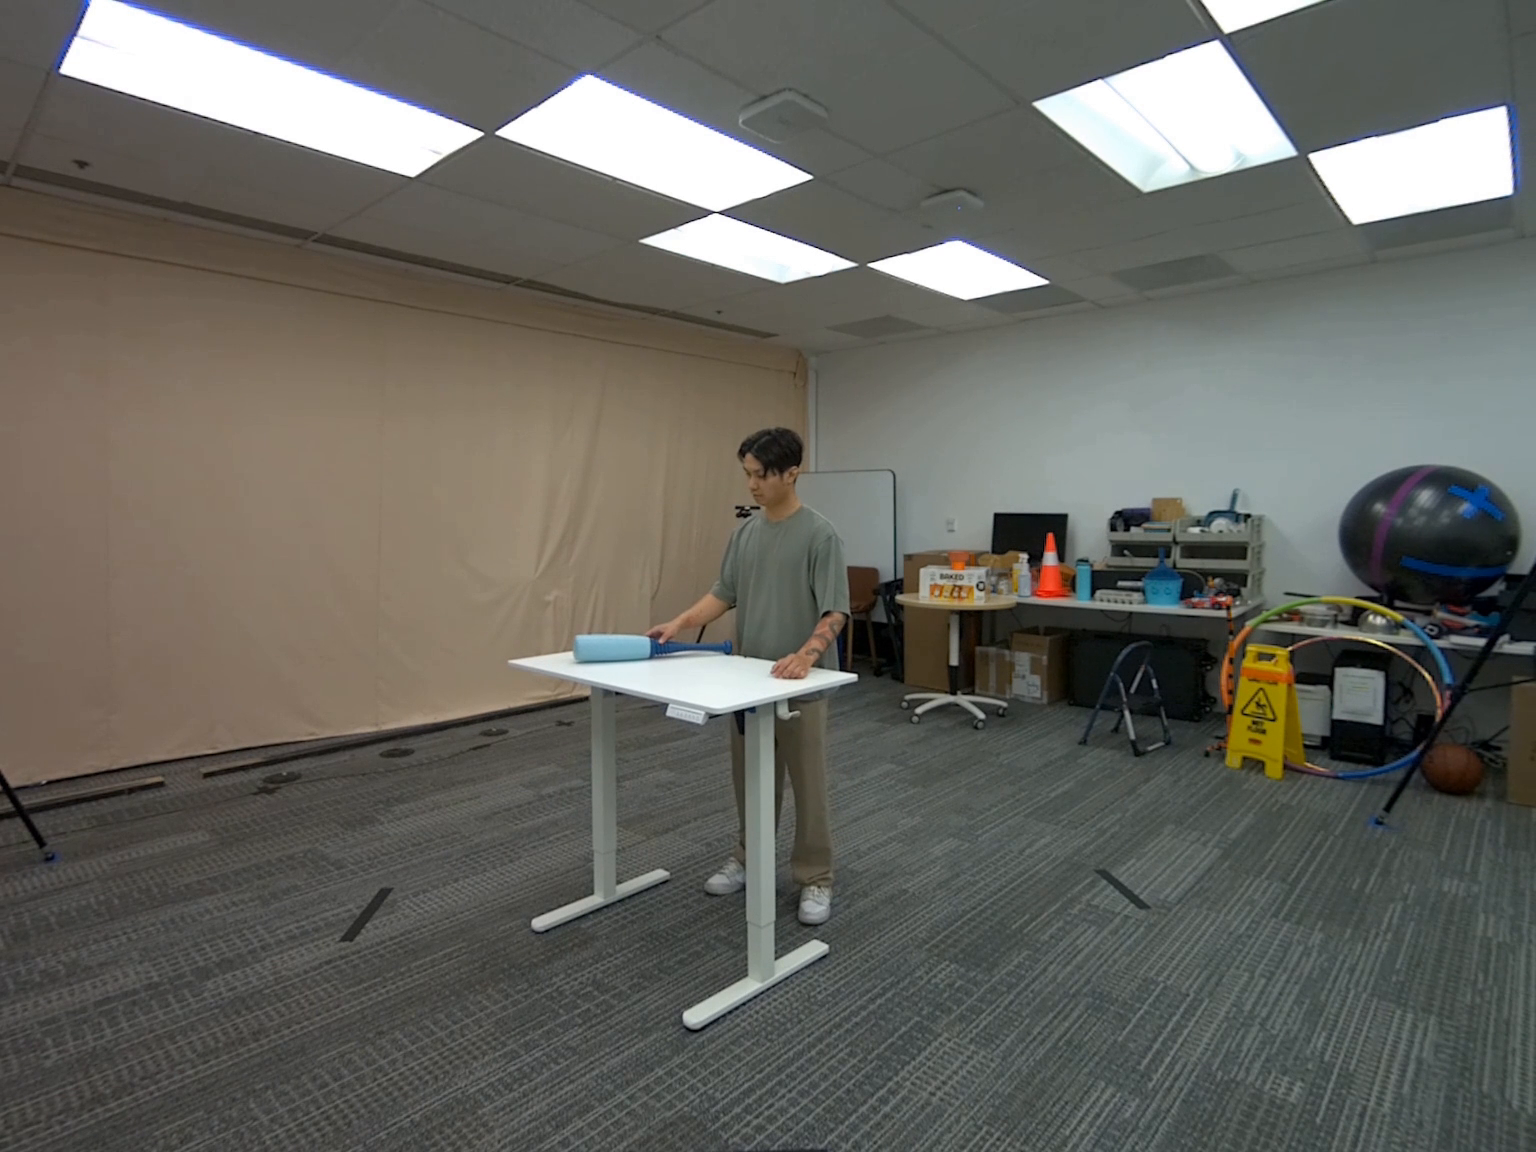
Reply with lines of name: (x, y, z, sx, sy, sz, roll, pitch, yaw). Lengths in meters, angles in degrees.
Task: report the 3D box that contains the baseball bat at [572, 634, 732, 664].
baseball bat: (-0.380, 0.249, 2.822, 0.533, 0.089, 0.091, 2, 3, -17)
